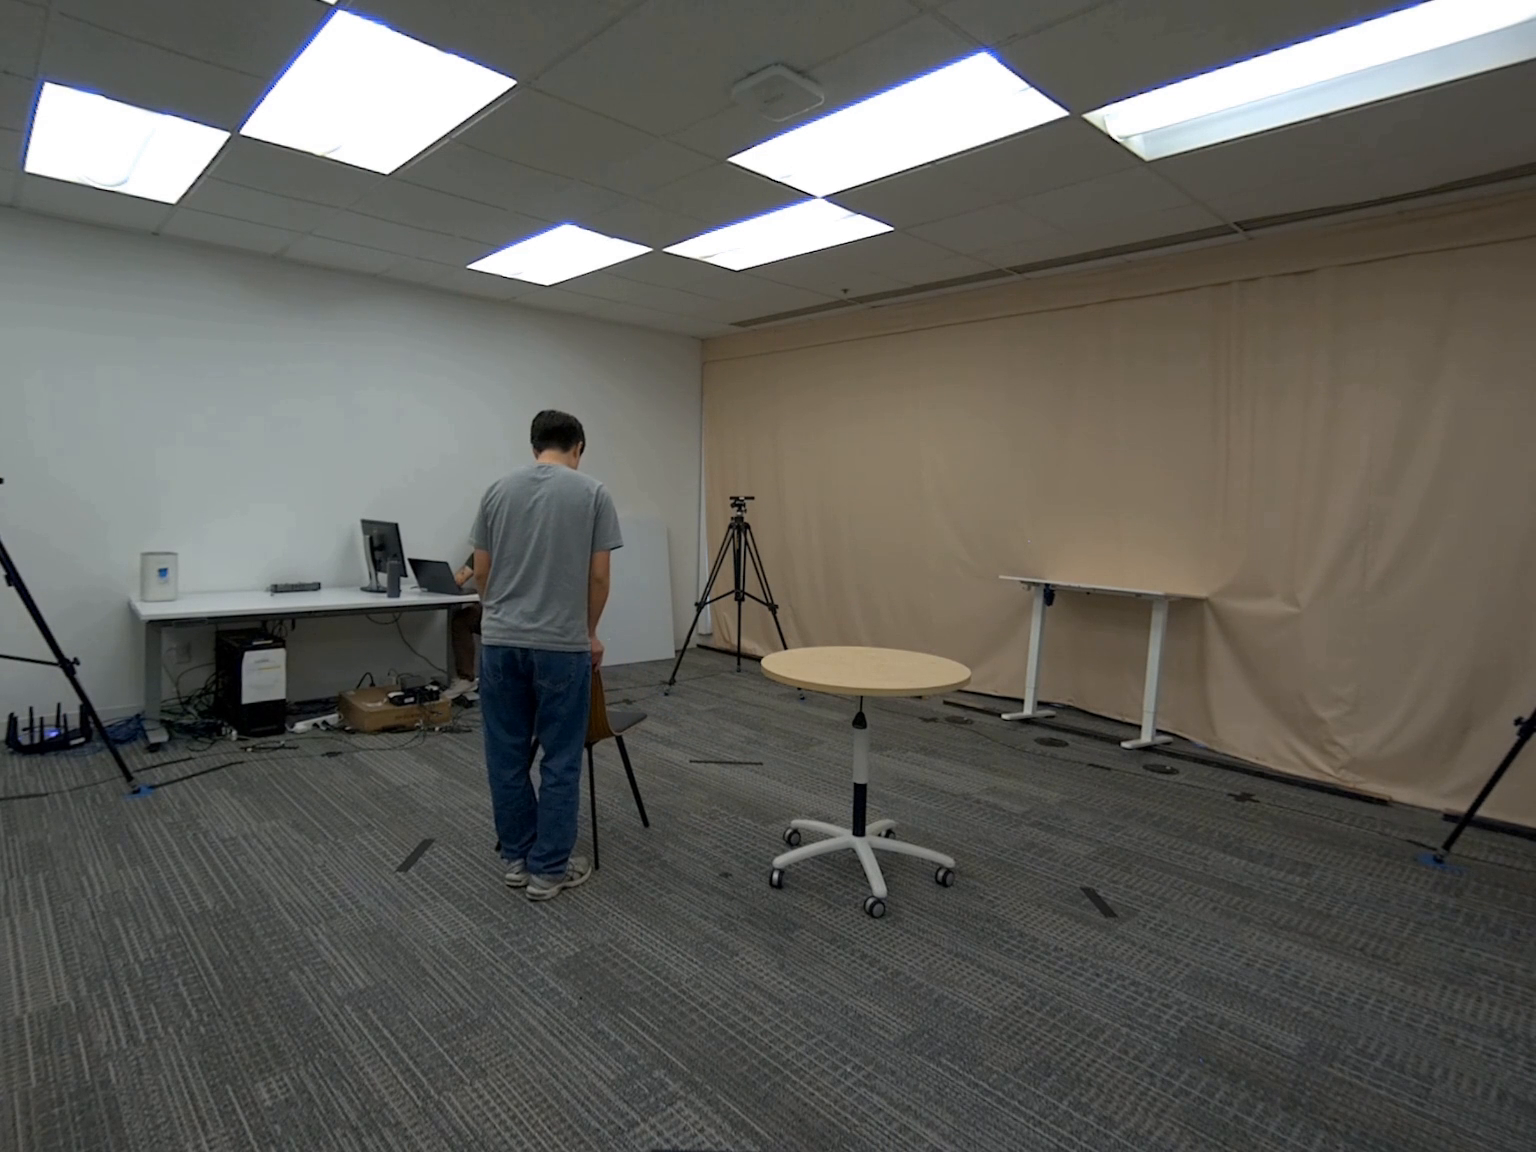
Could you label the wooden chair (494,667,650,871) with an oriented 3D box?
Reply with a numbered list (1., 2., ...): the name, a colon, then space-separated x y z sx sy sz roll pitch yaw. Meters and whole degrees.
1. wooden chair: -0.759 0.633 3.385 0.485 0.872 0.518 3 8 18
